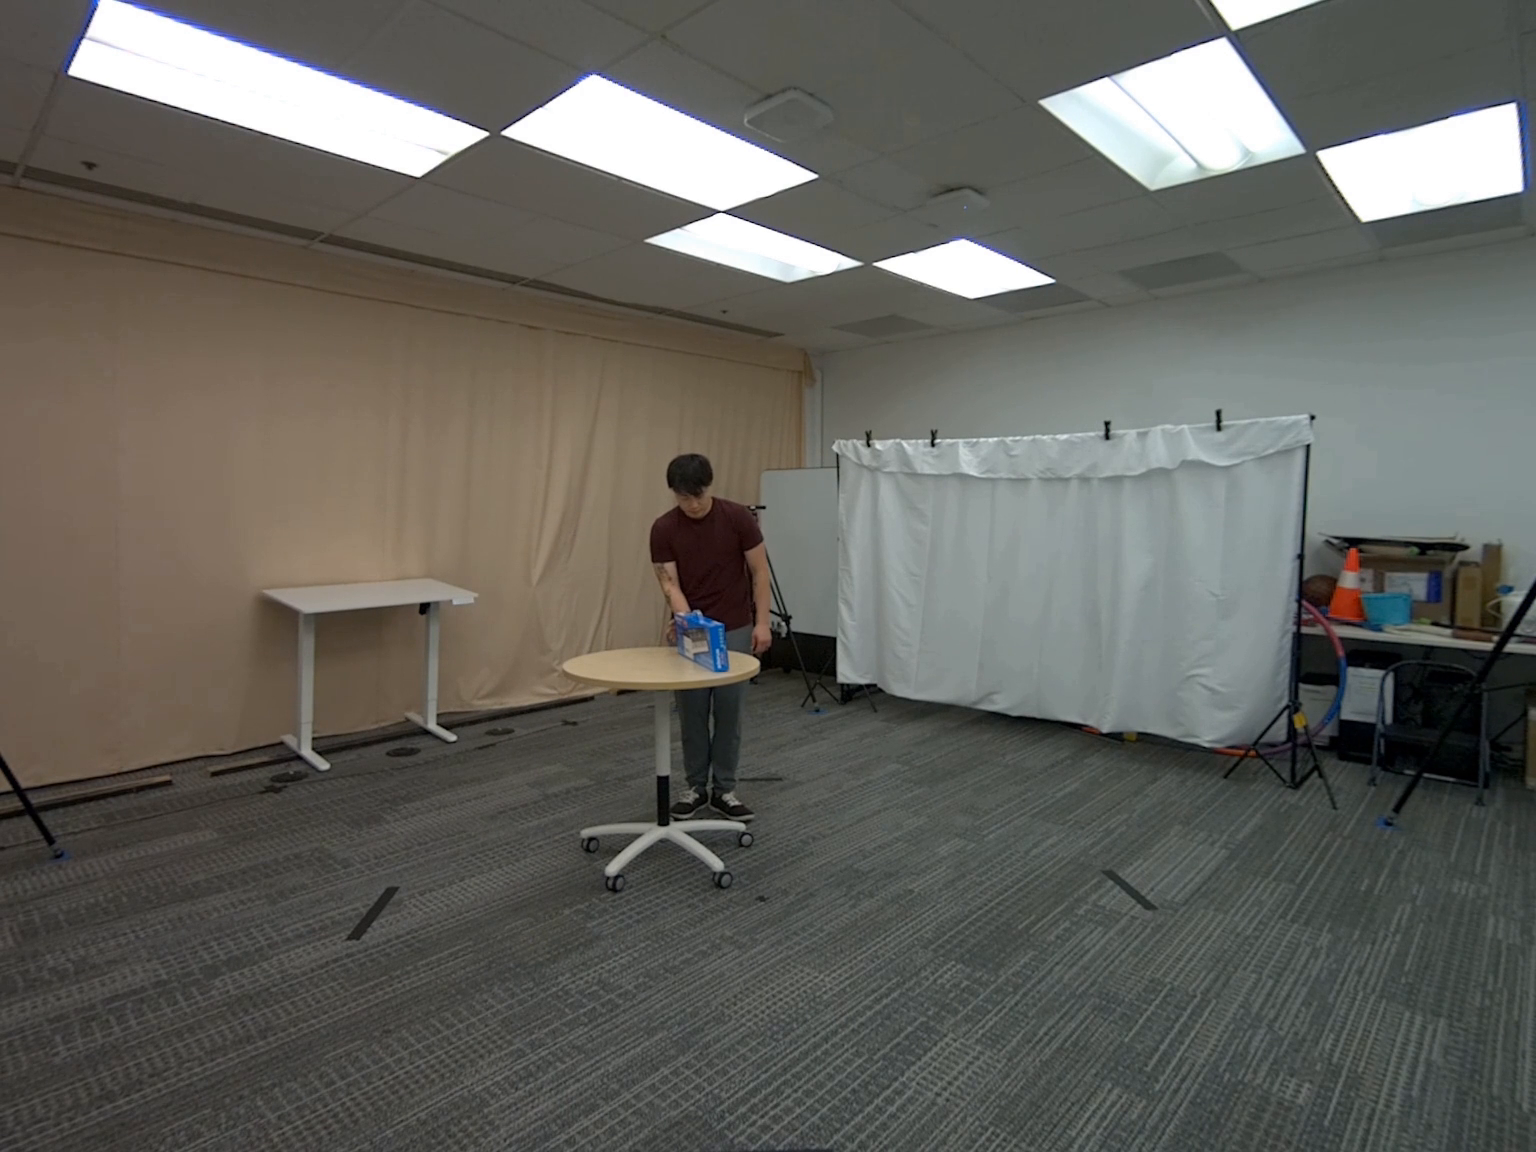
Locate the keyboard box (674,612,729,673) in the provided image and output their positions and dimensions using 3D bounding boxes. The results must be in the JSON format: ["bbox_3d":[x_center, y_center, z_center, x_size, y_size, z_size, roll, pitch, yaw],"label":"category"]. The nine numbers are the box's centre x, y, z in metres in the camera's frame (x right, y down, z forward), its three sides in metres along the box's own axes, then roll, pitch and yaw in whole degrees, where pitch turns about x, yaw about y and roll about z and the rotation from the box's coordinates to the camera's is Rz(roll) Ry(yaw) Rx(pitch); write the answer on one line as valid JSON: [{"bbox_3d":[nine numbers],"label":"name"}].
[{"bbox_3d":[-0.264,0.251,3.287,0.058,0.175,0.447,-9,7,-22],"label":"keyboard box"}]
